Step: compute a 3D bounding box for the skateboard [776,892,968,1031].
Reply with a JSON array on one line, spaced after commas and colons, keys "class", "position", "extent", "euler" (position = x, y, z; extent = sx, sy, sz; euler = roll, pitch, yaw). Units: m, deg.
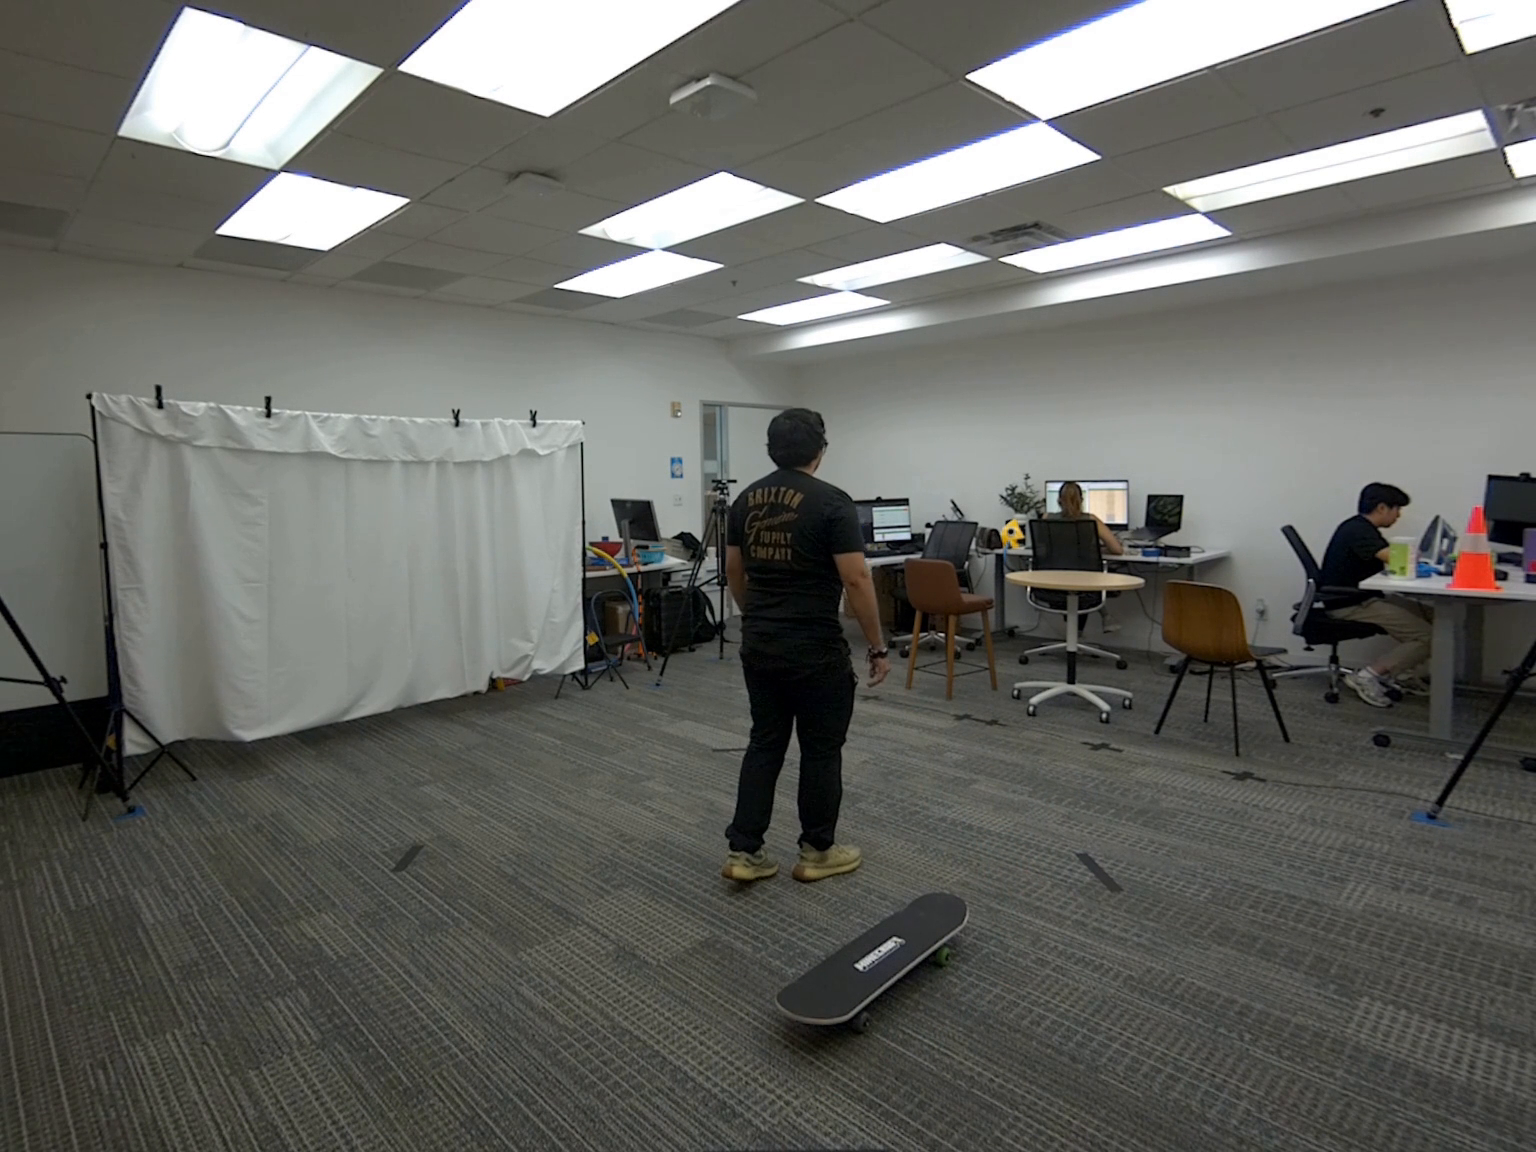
[{"class": "skateboard", "position": [0.321, 1.078, 2.352], "extent": [0.199, 0.110, 0.766], "euler": [2, 8, 42]}]
